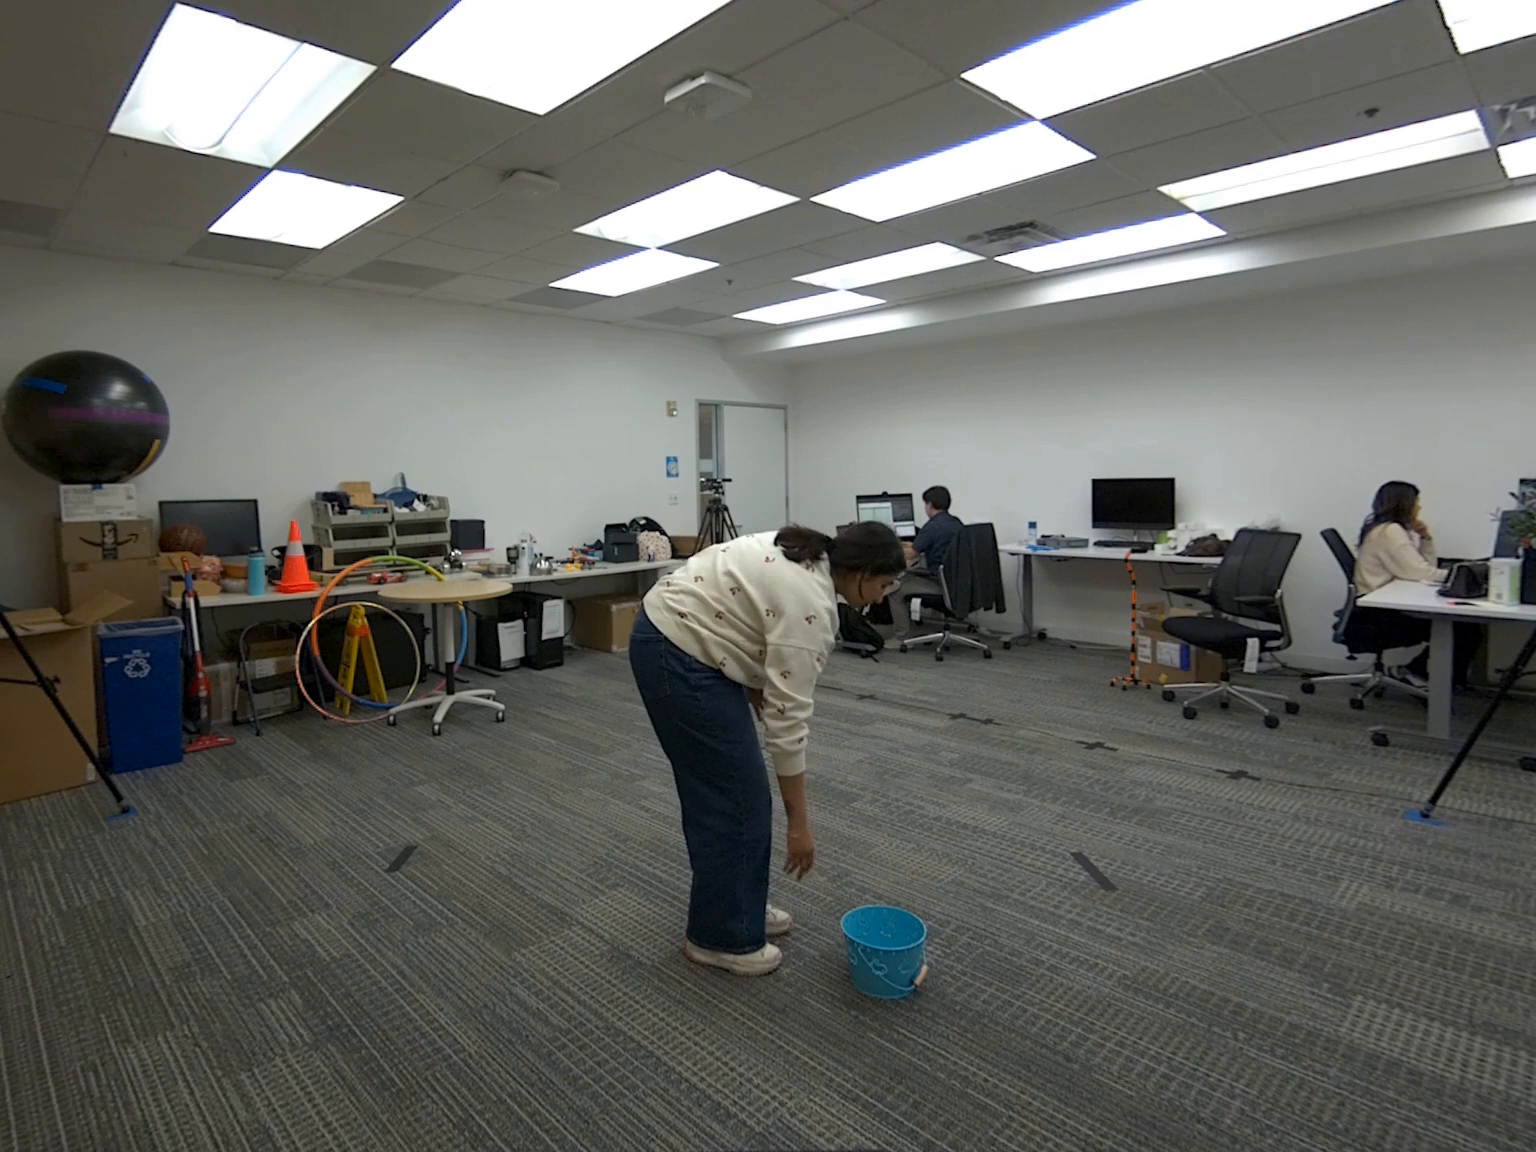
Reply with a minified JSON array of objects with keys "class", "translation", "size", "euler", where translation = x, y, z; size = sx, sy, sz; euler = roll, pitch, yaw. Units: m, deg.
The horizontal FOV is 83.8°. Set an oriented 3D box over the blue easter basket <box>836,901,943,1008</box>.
[{"class":"blue easter basket","translation":[0.327,1.038,2.367],"size":[0.243,0.155,0.245],"euler":[-2,6,-2]}]
